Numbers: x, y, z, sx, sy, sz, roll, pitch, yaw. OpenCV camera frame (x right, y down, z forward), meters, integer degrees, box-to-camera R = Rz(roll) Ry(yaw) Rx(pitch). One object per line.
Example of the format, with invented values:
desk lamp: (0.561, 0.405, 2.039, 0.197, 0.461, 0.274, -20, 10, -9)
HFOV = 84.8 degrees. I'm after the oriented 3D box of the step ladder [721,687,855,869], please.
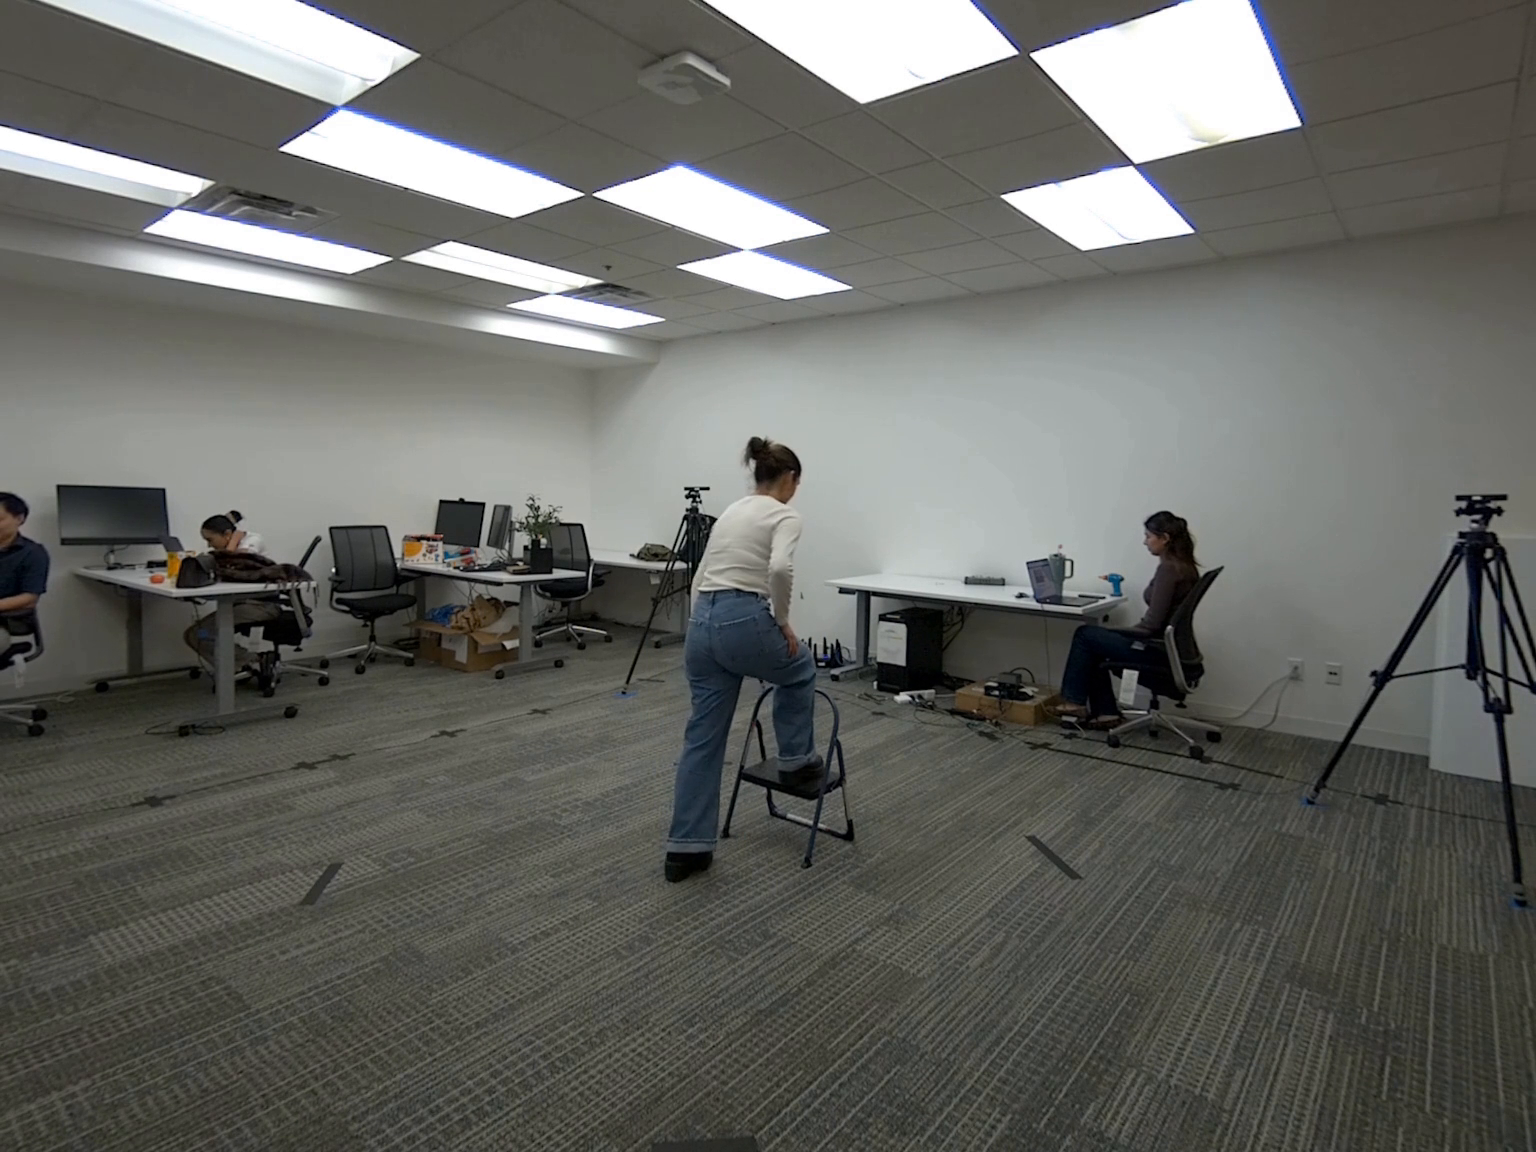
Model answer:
step ladder: (0.077, 0.740, 3.376, 0.445, 0.604, 0.339, 4, 4, 38)
